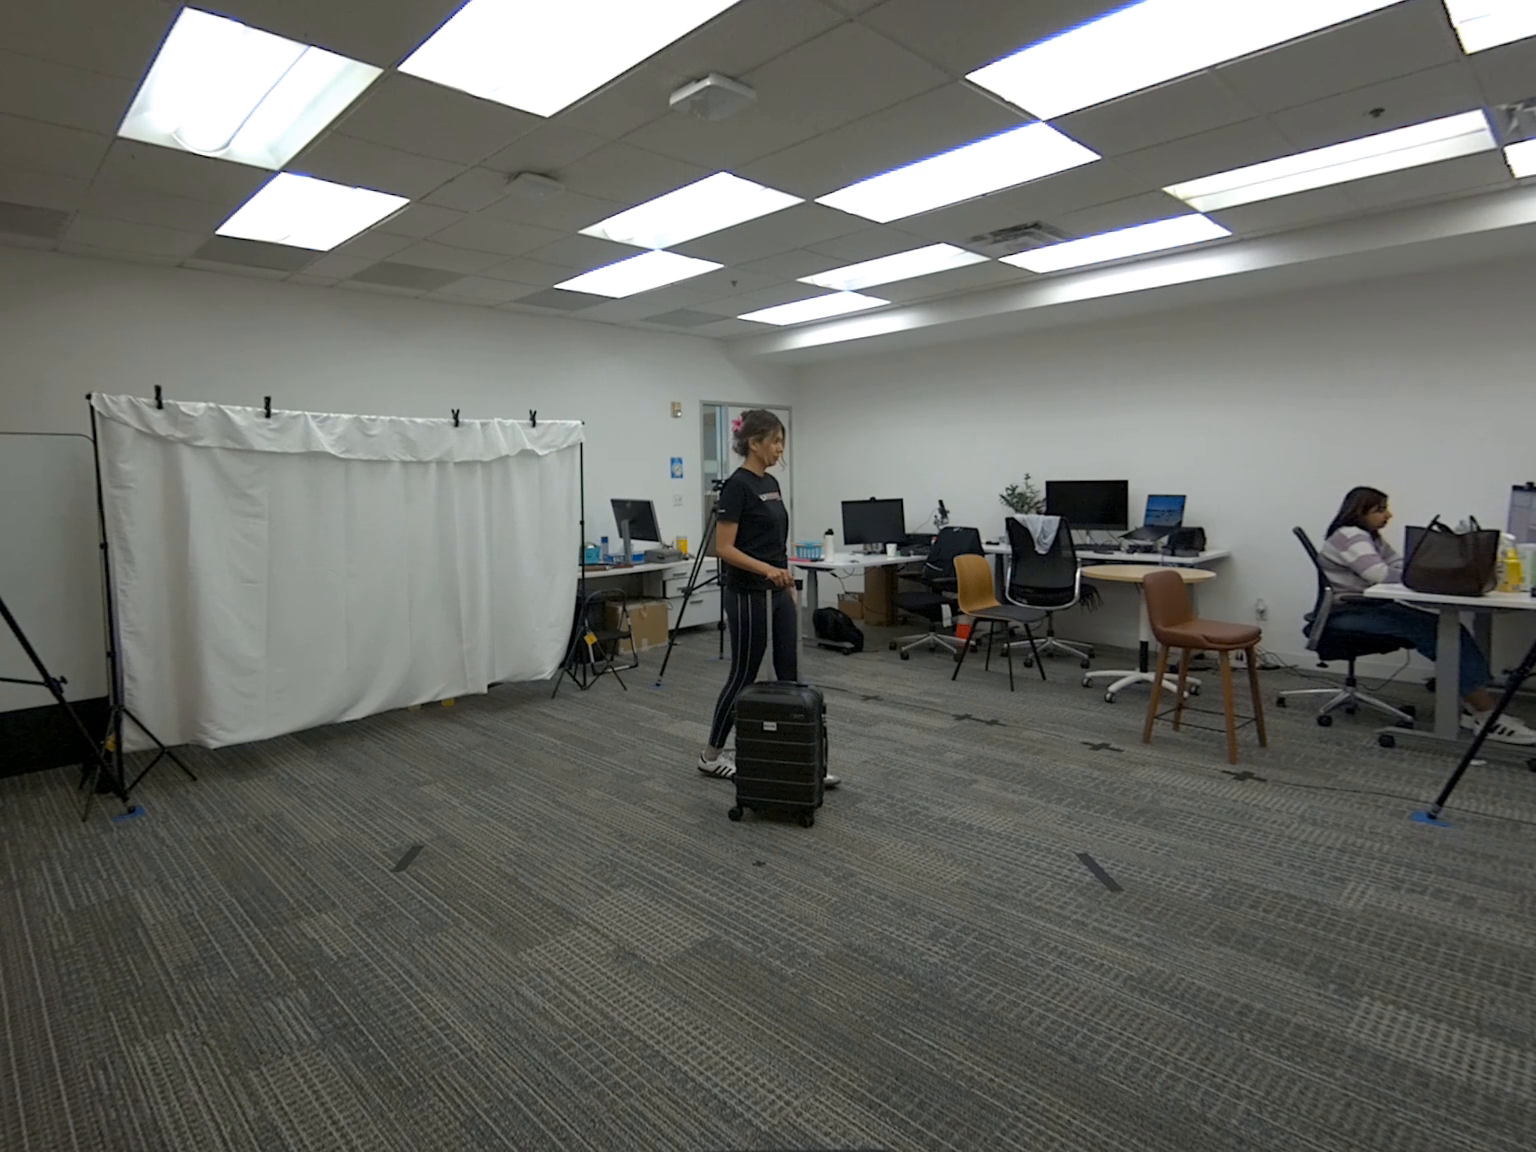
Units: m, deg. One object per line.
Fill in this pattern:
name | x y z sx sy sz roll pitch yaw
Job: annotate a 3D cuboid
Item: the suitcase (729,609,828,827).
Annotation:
suitcase | 0.053 0.526 3.527 0.390 0.973 0.254 2 6 15
